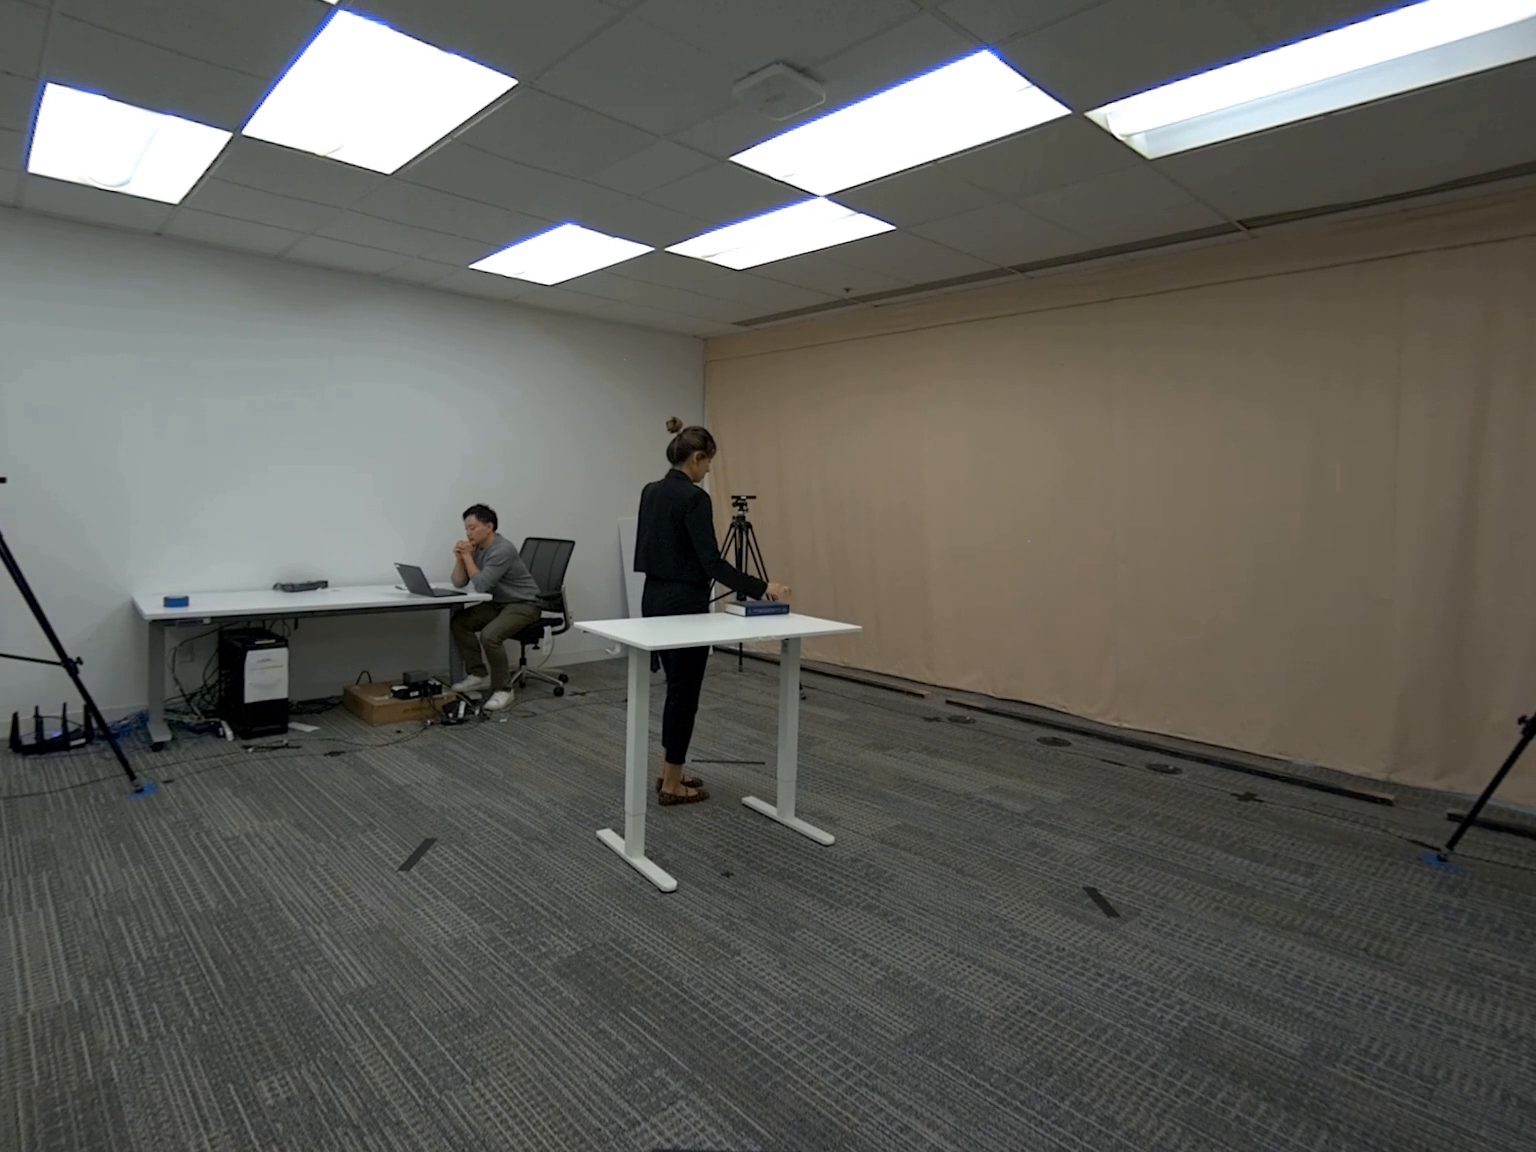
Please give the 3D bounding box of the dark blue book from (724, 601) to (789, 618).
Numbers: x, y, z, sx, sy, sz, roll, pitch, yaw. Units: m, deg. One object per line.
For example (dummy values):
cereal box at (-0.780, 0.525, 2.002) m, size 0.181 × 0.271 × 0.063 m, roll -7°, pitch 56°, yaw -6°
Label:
dark blue book at (-0.056, 0.140, 3.758) m, size 0.240 × 0.045 × 0.167 m, roll -2°, pitch 6°, yaw -34°
